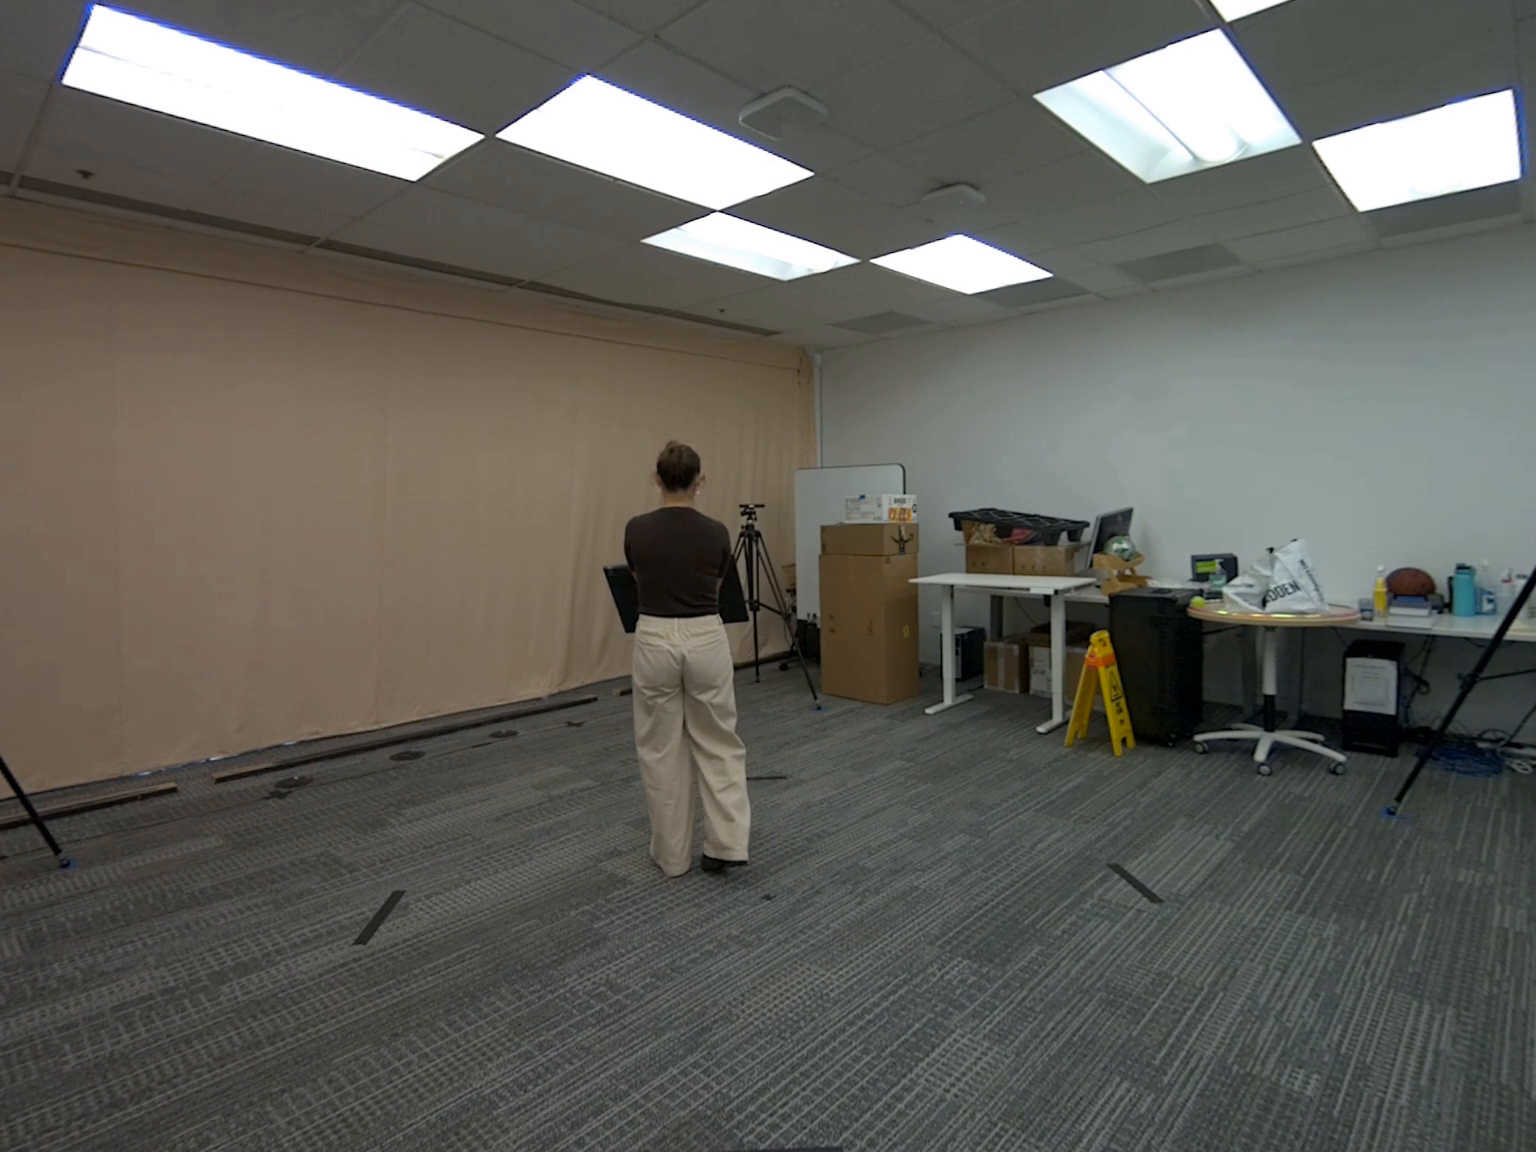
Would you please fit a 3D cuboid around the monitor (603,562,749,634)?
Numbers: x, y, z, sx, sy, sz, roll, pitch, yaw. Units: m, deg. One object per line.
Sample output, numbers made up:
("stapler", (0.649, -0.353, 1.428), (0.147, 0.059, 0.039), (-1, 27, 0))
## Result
("monitor", (-0.368, 0.171, 3.418), (0.542, 0.514, 0.189), (-6, 23, 5))
